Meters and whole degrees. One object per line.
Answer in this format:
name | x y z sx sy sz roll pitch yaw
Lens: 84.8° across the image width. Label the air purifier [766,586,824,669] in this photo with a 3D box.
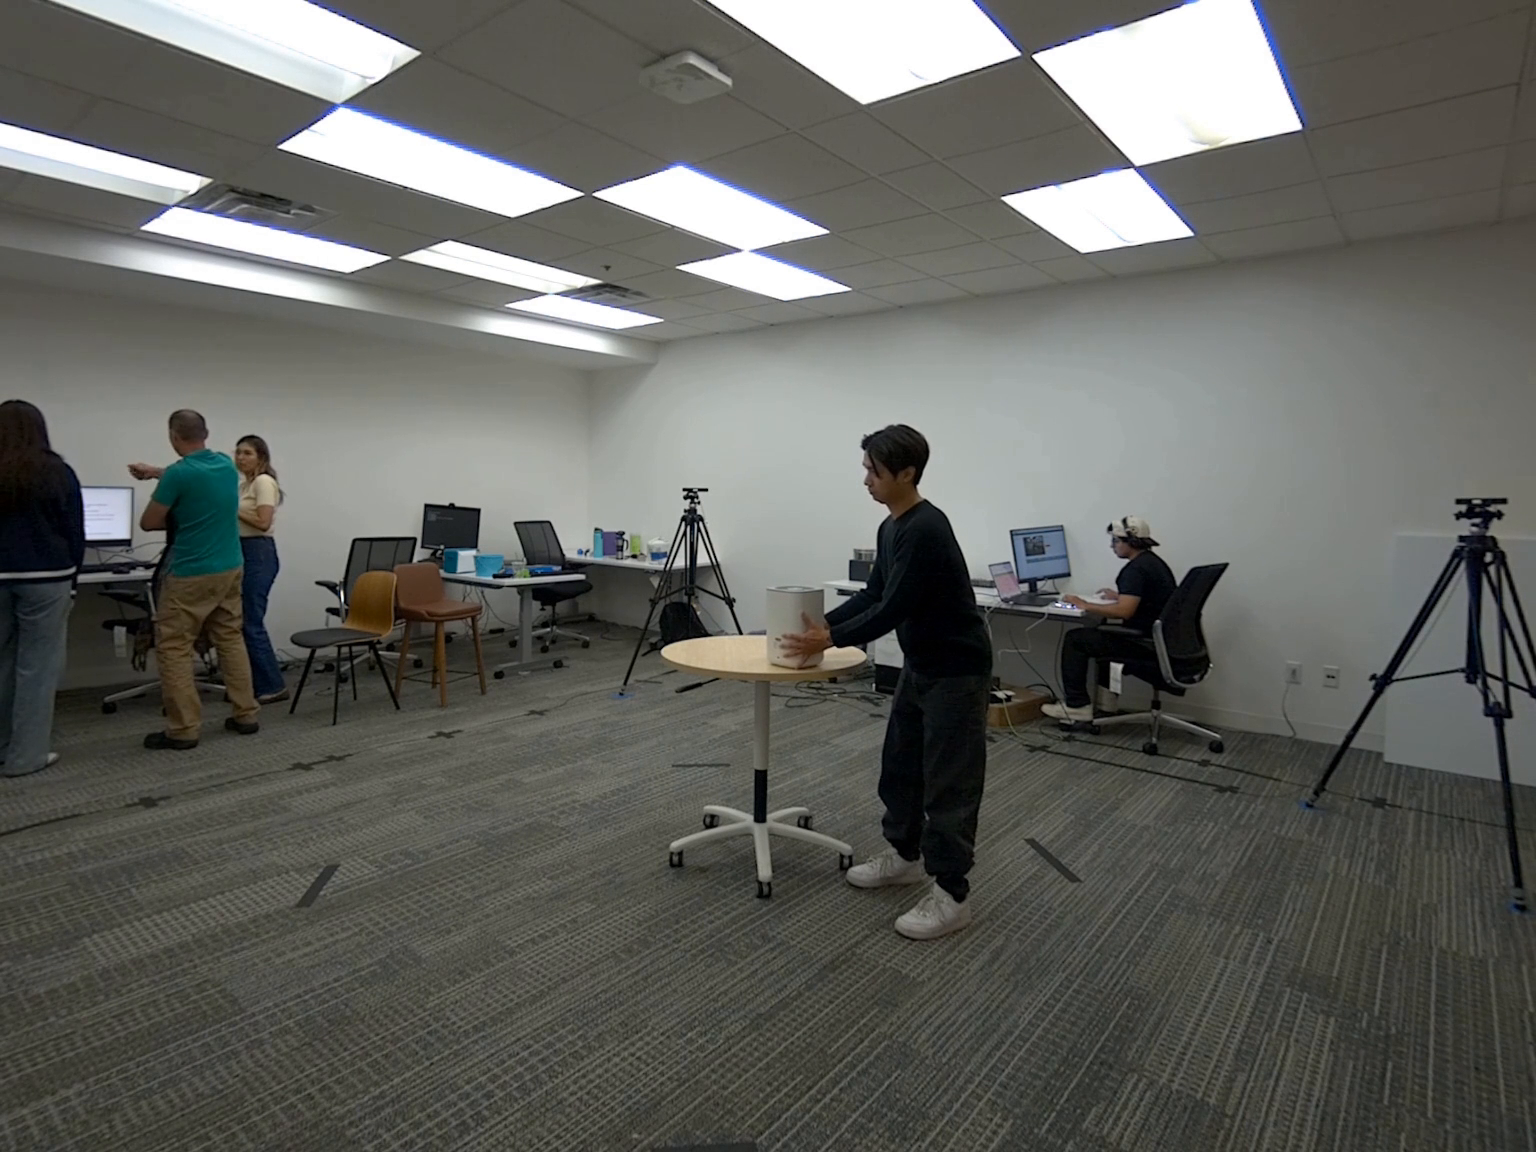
air purifier | 0.084 0.169 2.958 0.177 0.264 0.166 5 6 44
